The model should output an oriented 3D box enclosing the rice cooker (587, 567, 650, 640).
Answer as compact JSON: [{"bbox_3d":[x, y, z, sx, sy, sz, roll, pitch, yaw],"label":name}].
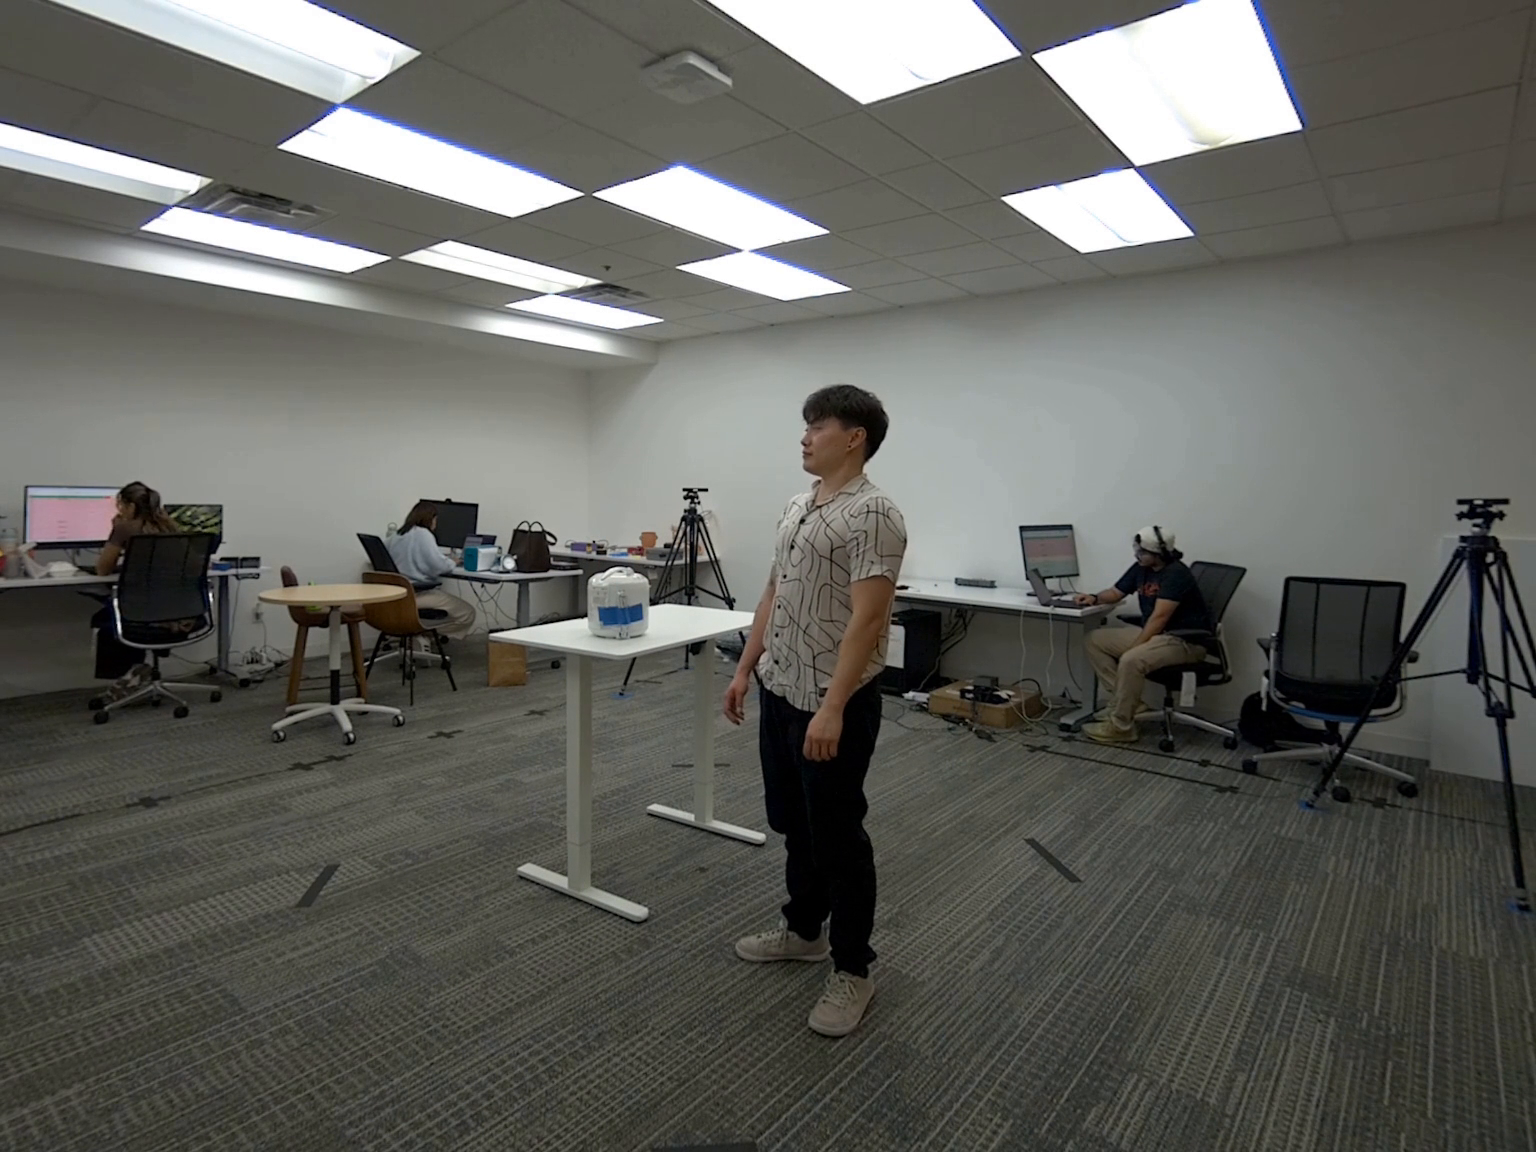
[{"bbox_3d":[-0.528,0.083,2.922,0.224,0.232,0.215,5,6,29],"label":"rice cooker"}]
